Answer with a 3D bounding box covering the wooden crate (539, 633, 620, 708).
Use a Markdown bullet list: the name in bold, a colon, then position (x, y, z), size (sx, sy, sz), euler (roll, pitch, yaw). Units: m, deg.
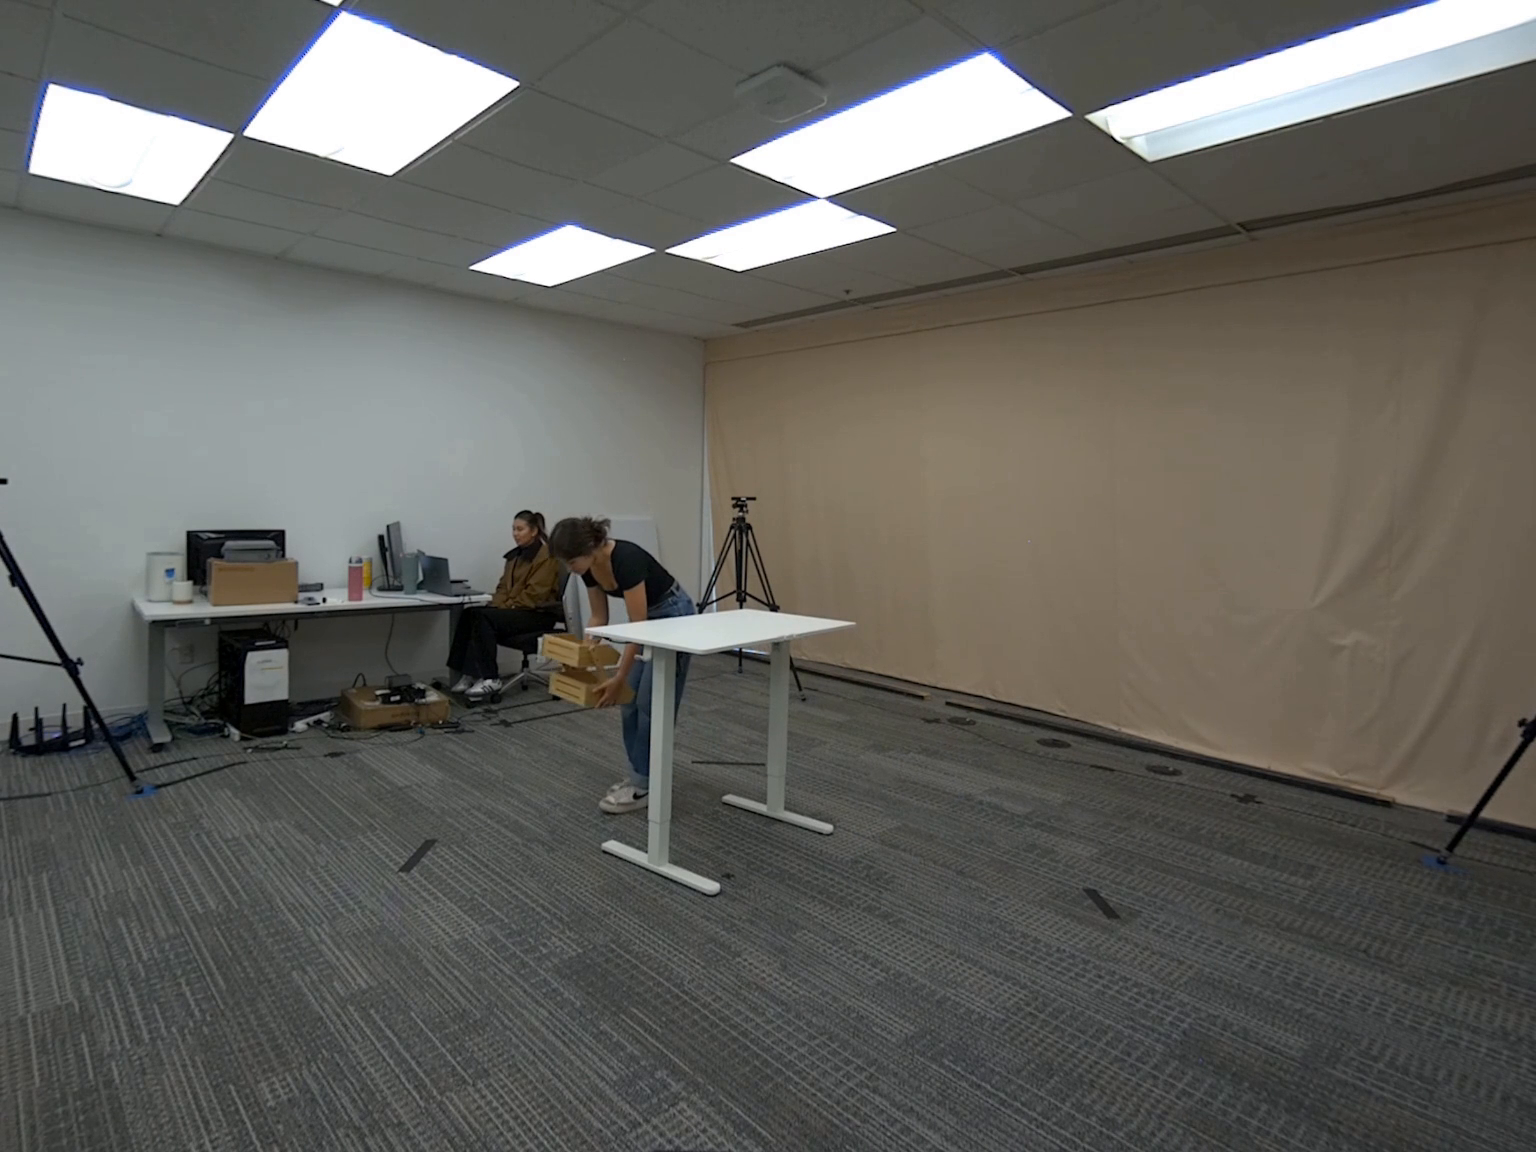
- **wooden crate**: position (-0.793, 0.398, 3.666), size (0.295, 0.273, 0.333), euler (1, 4, -43)
